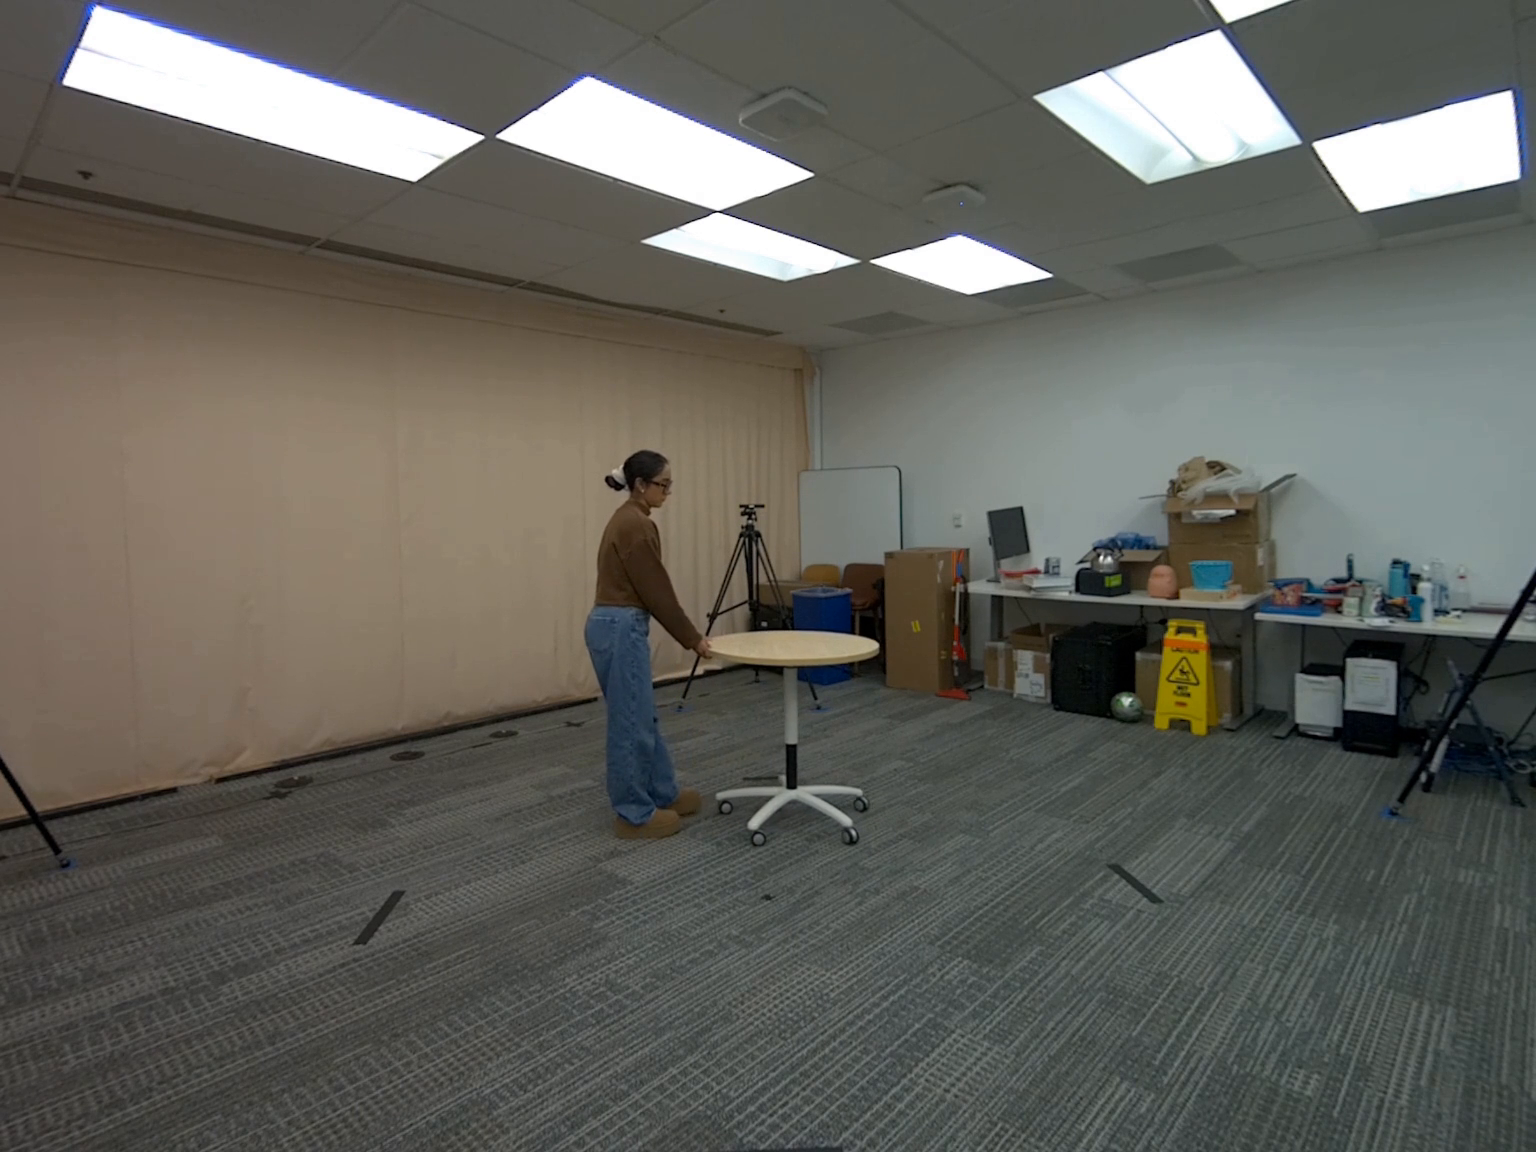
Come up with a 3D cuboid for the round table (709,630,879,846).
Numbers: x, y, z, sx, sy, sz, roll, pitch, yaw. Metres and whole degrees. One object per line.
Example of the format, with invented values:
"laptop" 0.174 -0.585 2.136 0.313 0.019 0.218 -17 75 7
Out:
"round table" 0.105 0.690 3.696 0.763 0.792 0.766 -1 3 -2
